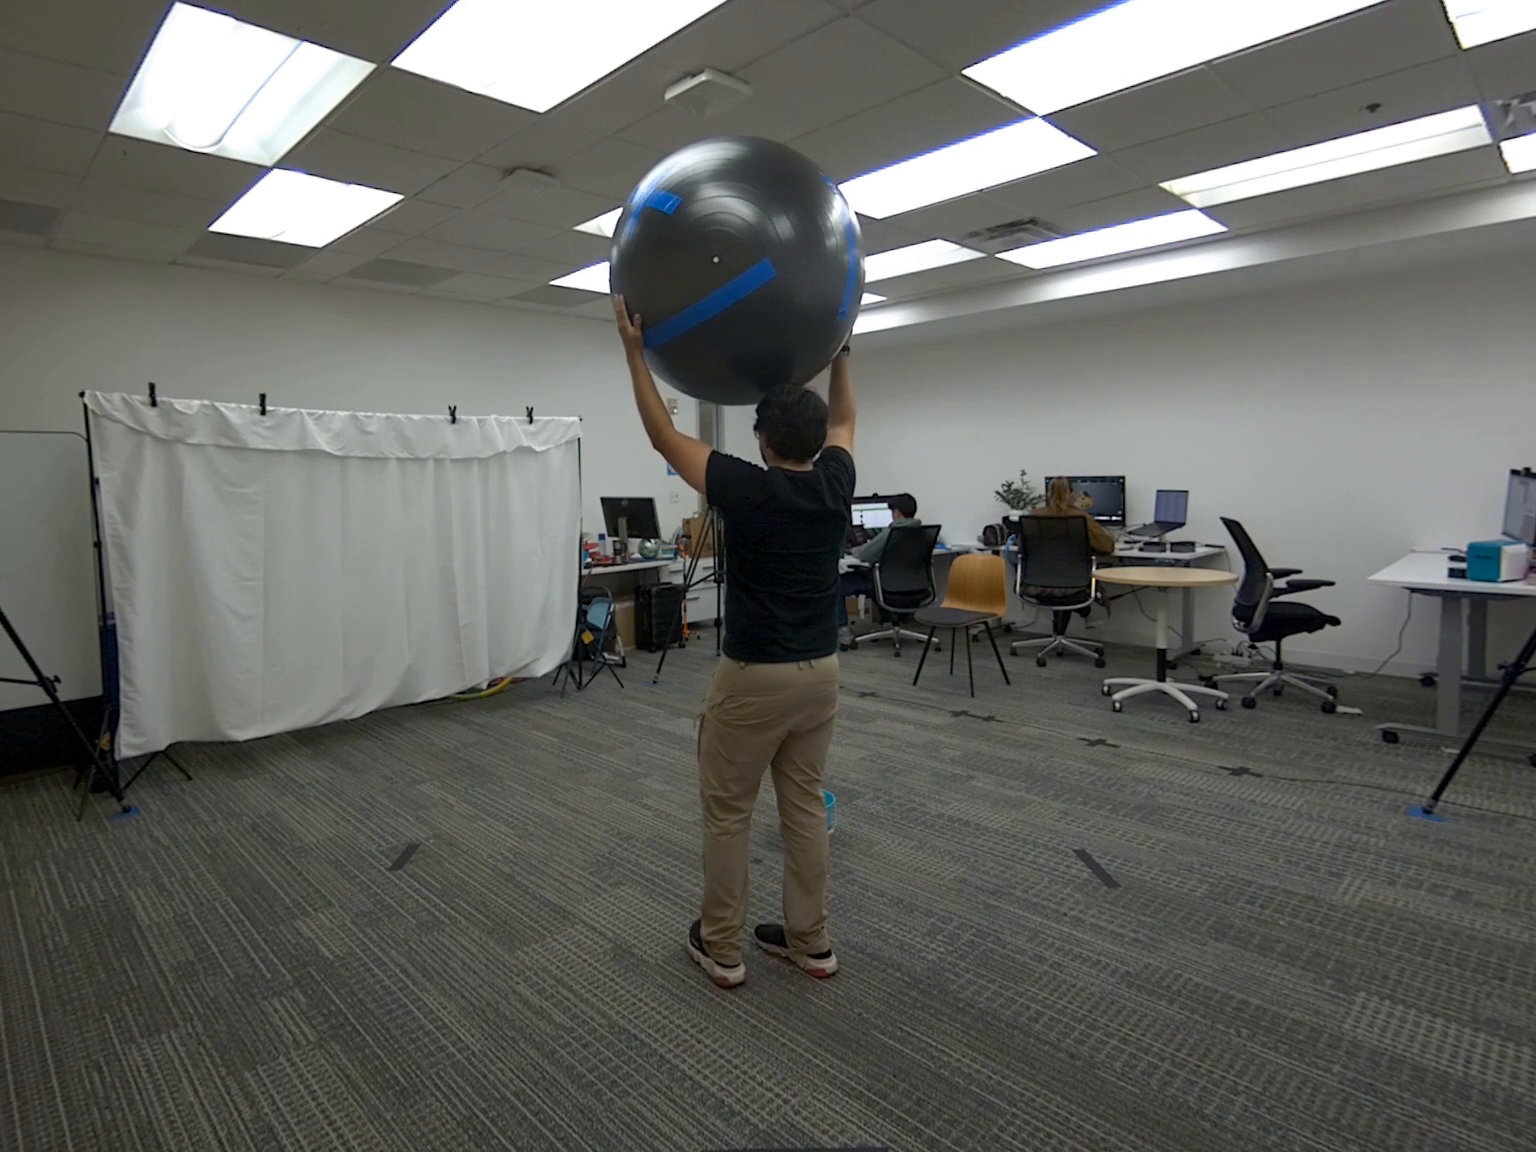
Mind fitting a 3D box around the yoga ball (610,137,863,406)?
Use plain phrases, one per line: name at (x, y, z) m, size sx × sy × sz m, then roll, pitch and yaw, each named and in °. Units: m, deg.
yoga ball at (-0.097, -0.884, 2.534) m, size 0.757 × 0.755 × 0.762 m, roll -1°, pitch 5°, yaw -2°
